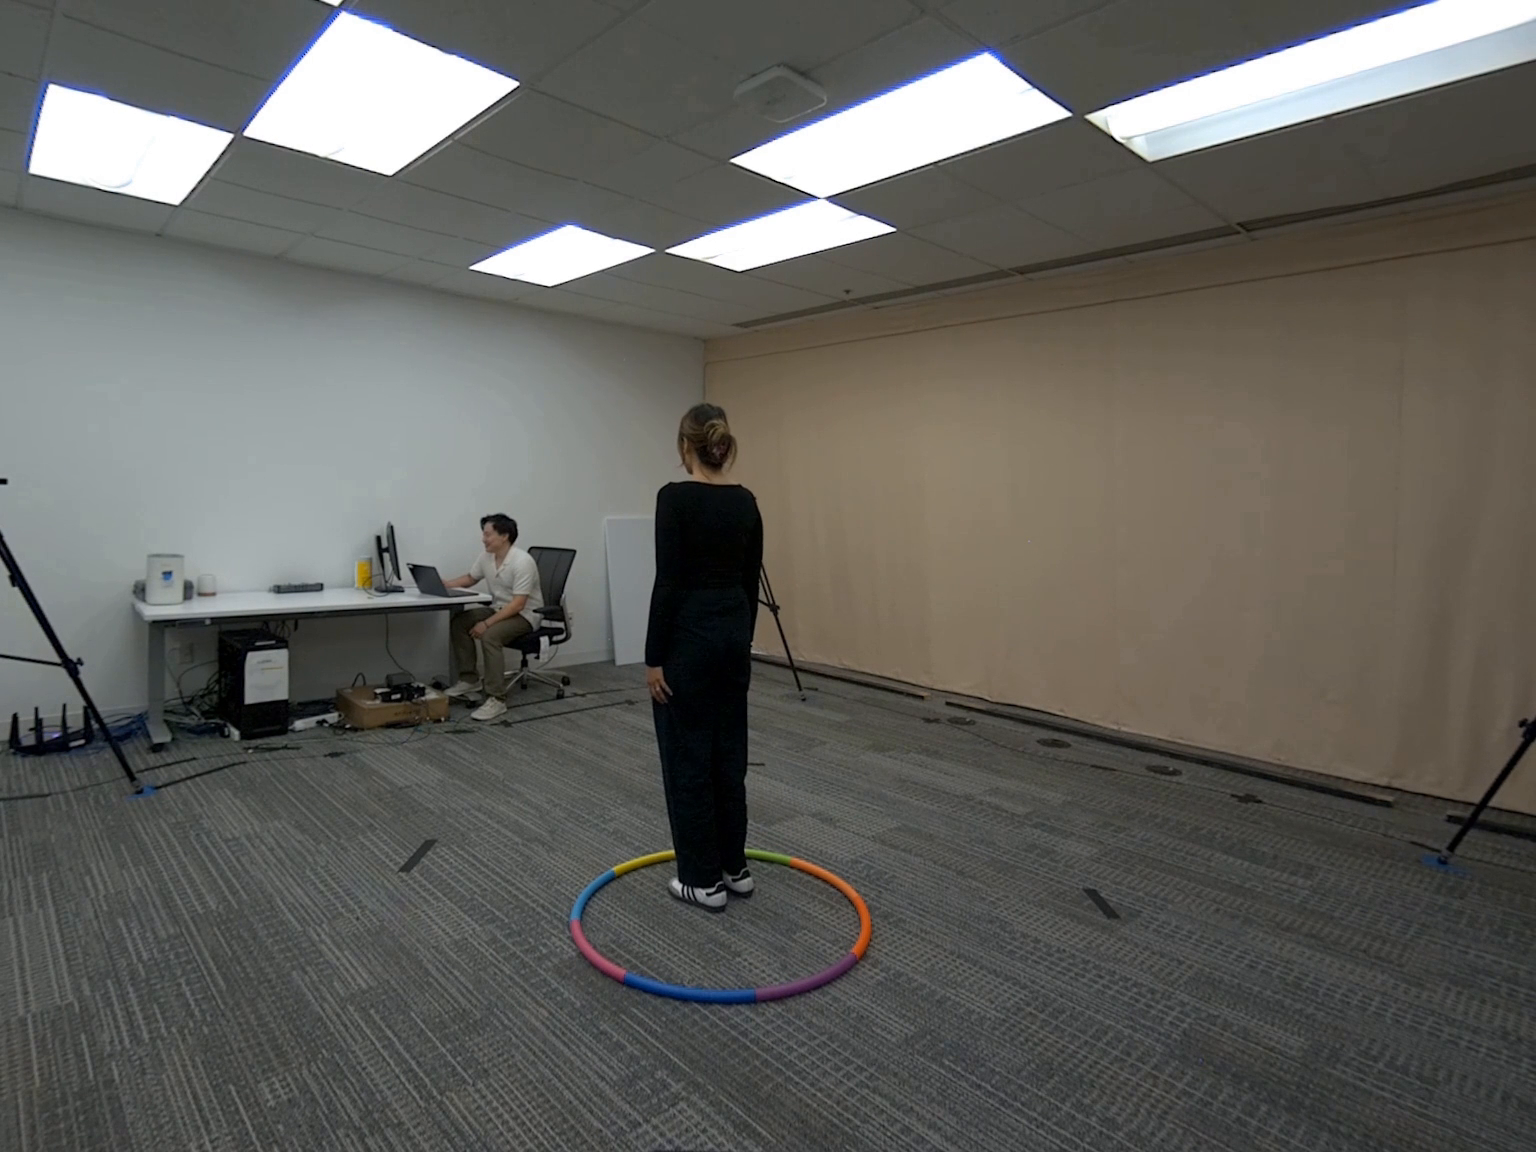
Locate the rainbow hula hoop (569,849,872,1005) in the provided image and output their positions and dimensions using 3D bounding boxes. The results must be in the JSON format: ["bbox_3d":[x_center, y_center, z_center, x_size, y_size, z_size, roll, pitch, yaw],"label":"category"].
[{"bbox_3d":[-0.165,1.107,2.800,0.978,0.035,0.982,1,5,-1],"label":"rainbow hula hoop"}]
